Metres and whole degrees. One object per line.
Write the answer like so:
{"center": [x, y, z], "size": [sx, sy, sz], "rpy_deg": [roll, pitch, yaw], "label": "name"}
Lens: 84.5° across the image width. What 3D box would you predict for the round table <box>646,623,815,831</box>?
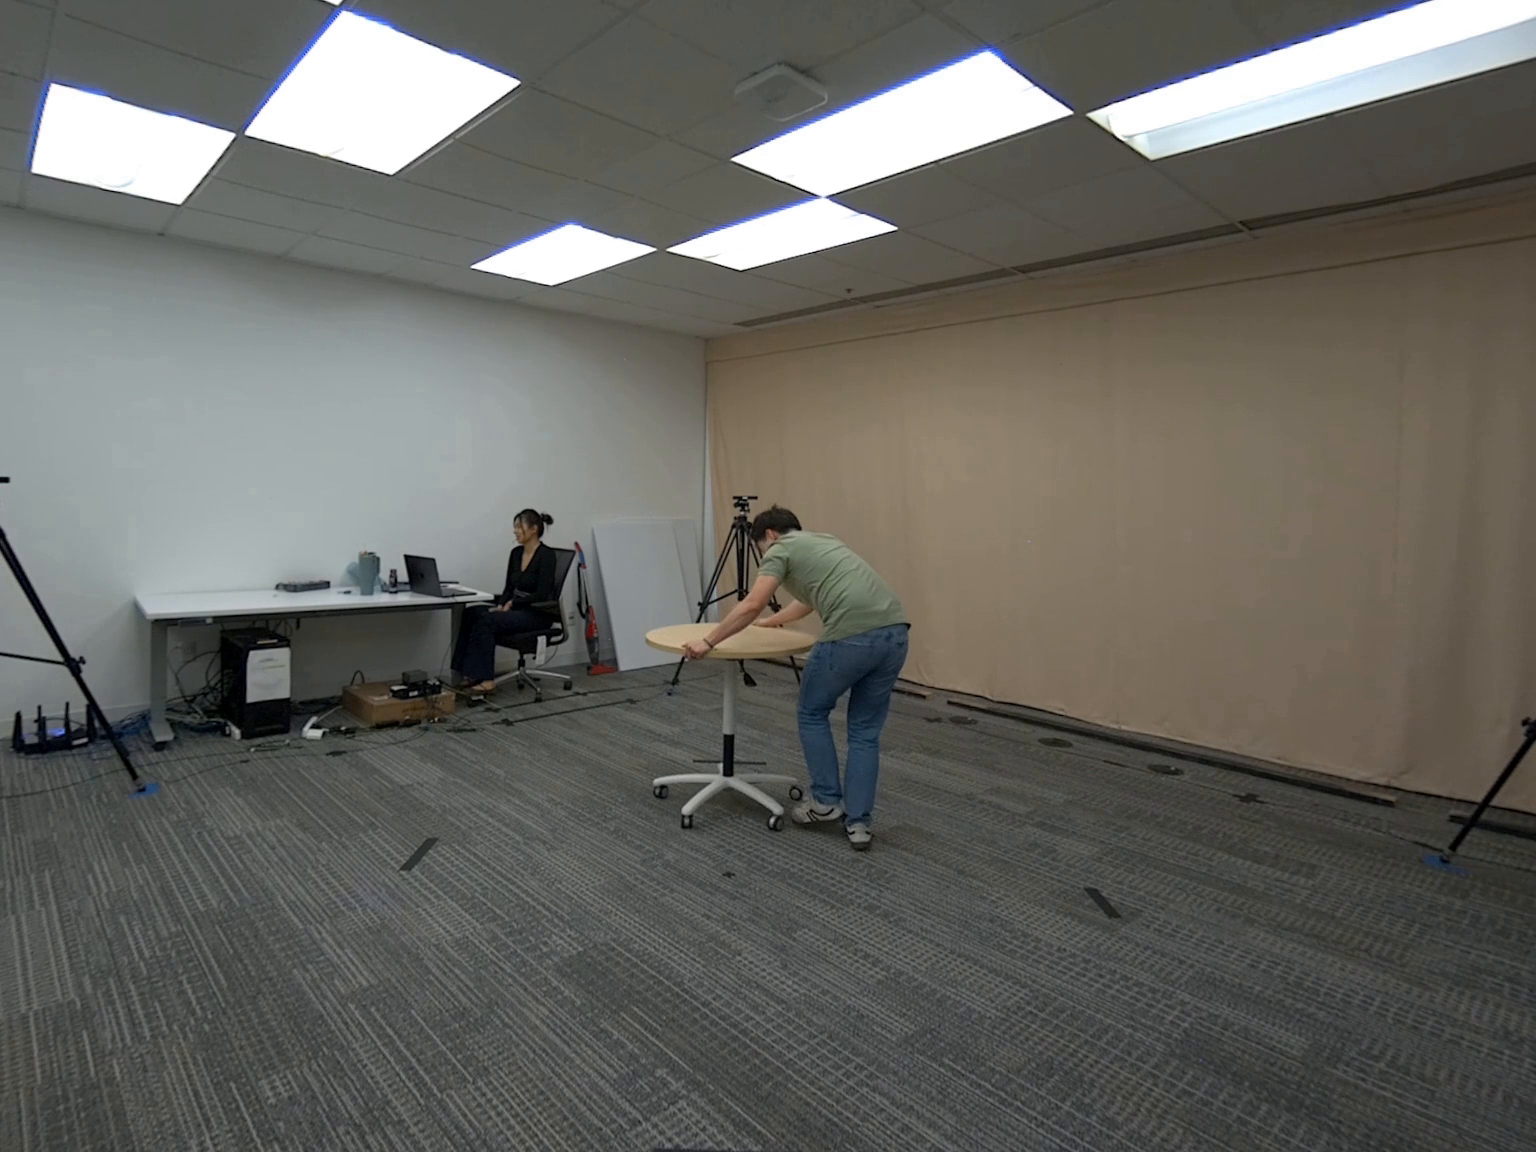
{"center": [-0.178, 0.657, 3.792], "size": [0.763, 0.792, 0.766], "rpy_deg": [1, 4, -1], "label": "round table"}
